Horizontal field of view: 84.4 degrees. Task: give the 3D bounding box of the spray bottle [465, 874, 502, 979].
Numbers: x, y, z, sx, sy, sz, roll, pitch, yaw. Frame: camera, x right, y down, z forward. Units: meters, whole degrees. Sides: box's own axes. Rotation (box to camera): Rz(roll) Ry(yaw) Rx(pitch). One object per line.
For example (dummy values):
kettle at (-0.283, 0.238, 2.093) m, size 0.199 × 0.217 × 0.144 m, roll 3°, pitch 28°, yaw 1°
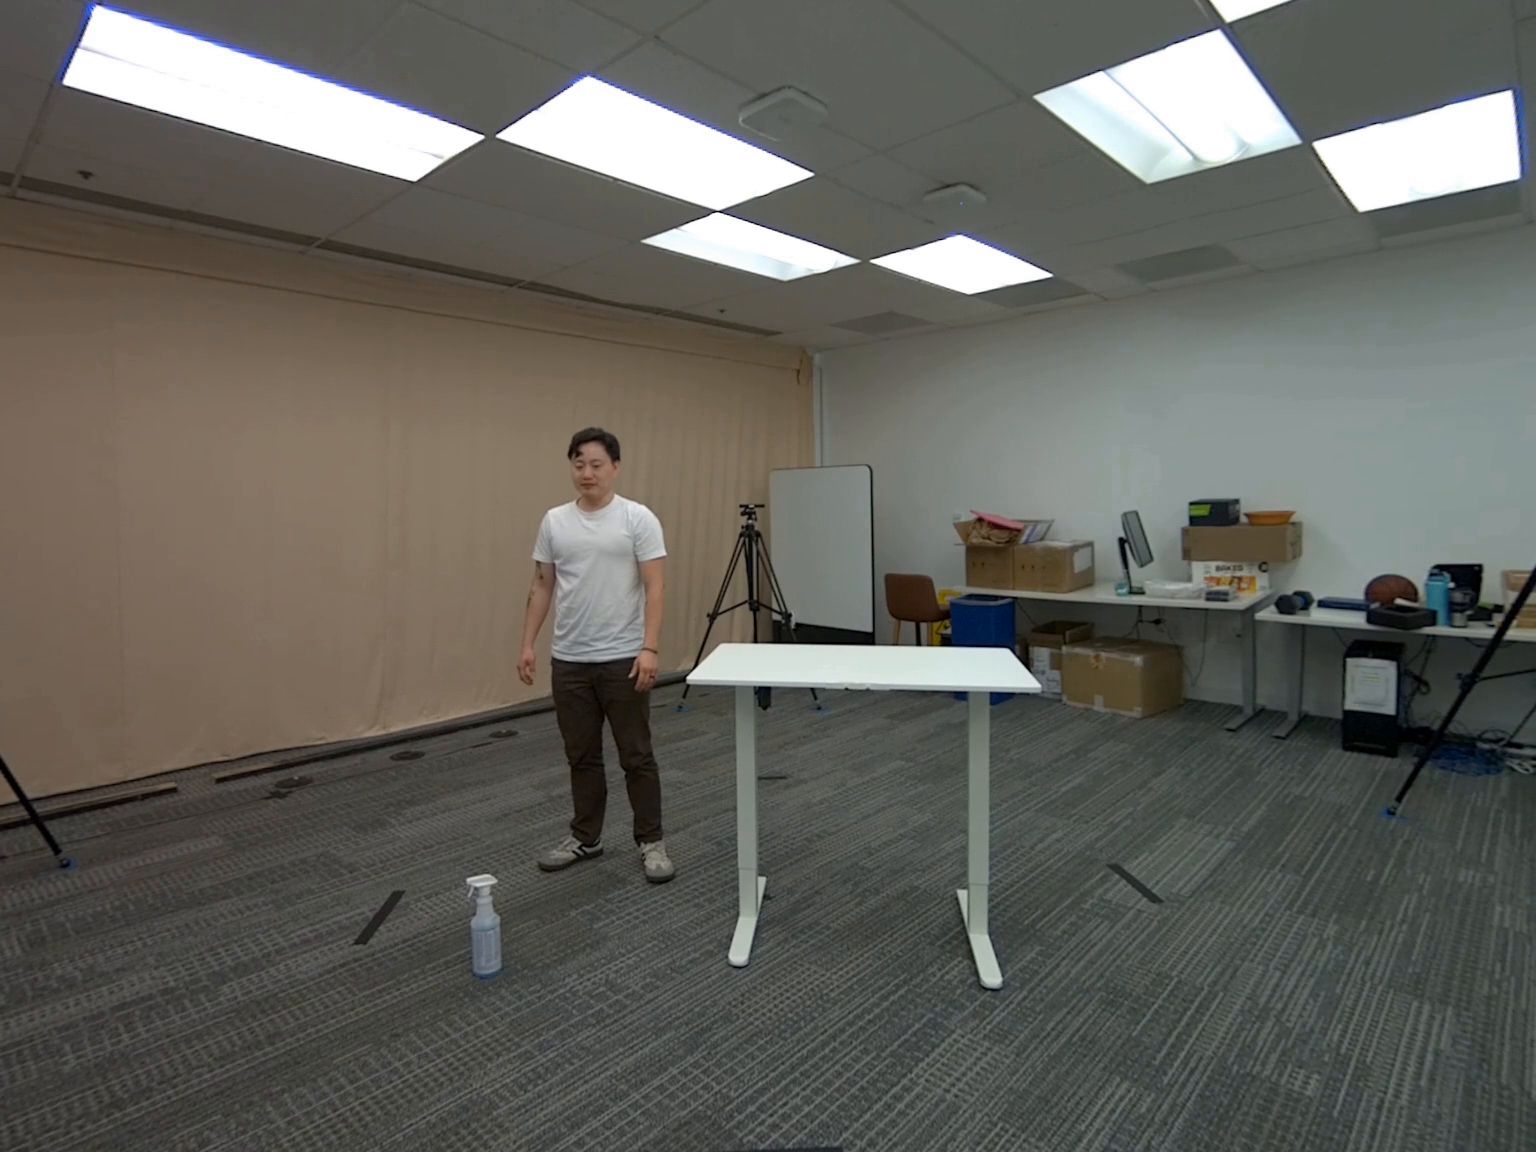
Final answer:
spray bottle at (-0.853, 1.050, 2.540) m, size 0.089 × 0.296 × 0.088 m, roll -3°, pitch 4°, yaw -6°
